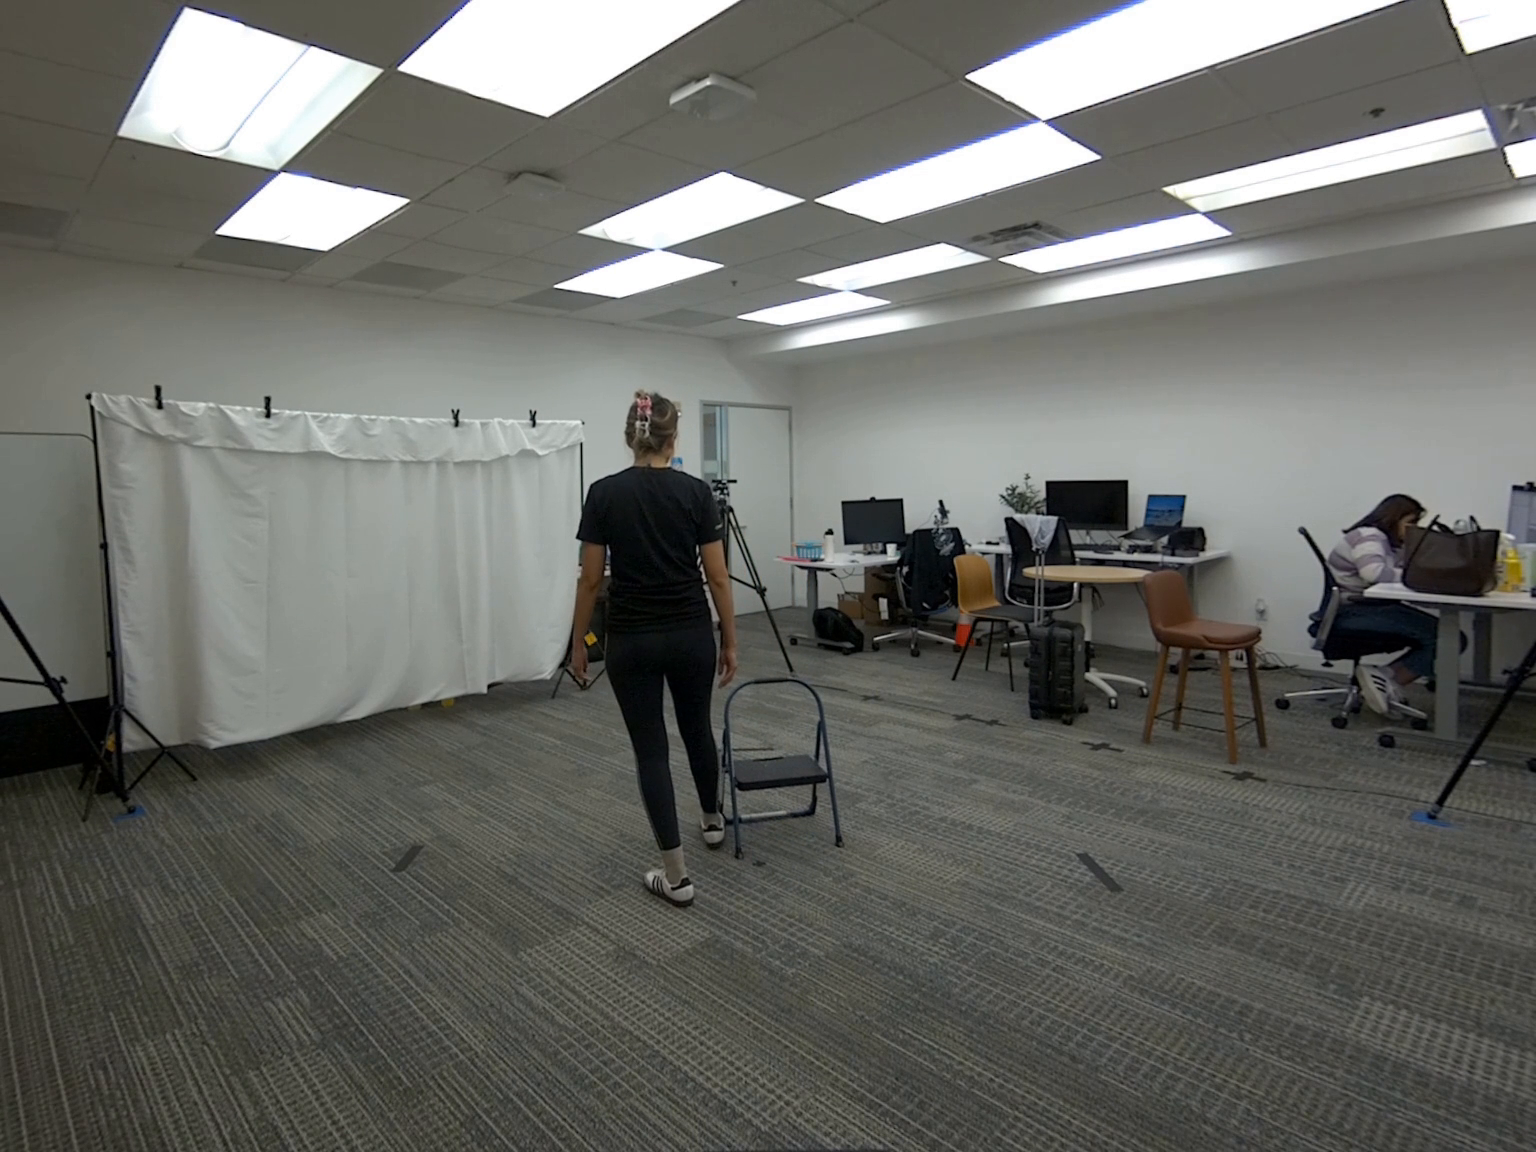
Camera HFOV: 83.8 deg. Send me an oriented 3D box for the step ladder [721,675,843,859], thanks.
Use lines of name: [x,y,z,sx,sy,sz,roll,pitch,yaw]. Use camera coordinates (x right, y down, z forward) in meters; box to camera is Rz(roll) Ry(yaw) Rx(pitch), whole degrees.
step ladder: [0.038,0.713,3.351,0.425,0.604,0.355,-2,4,-15]
